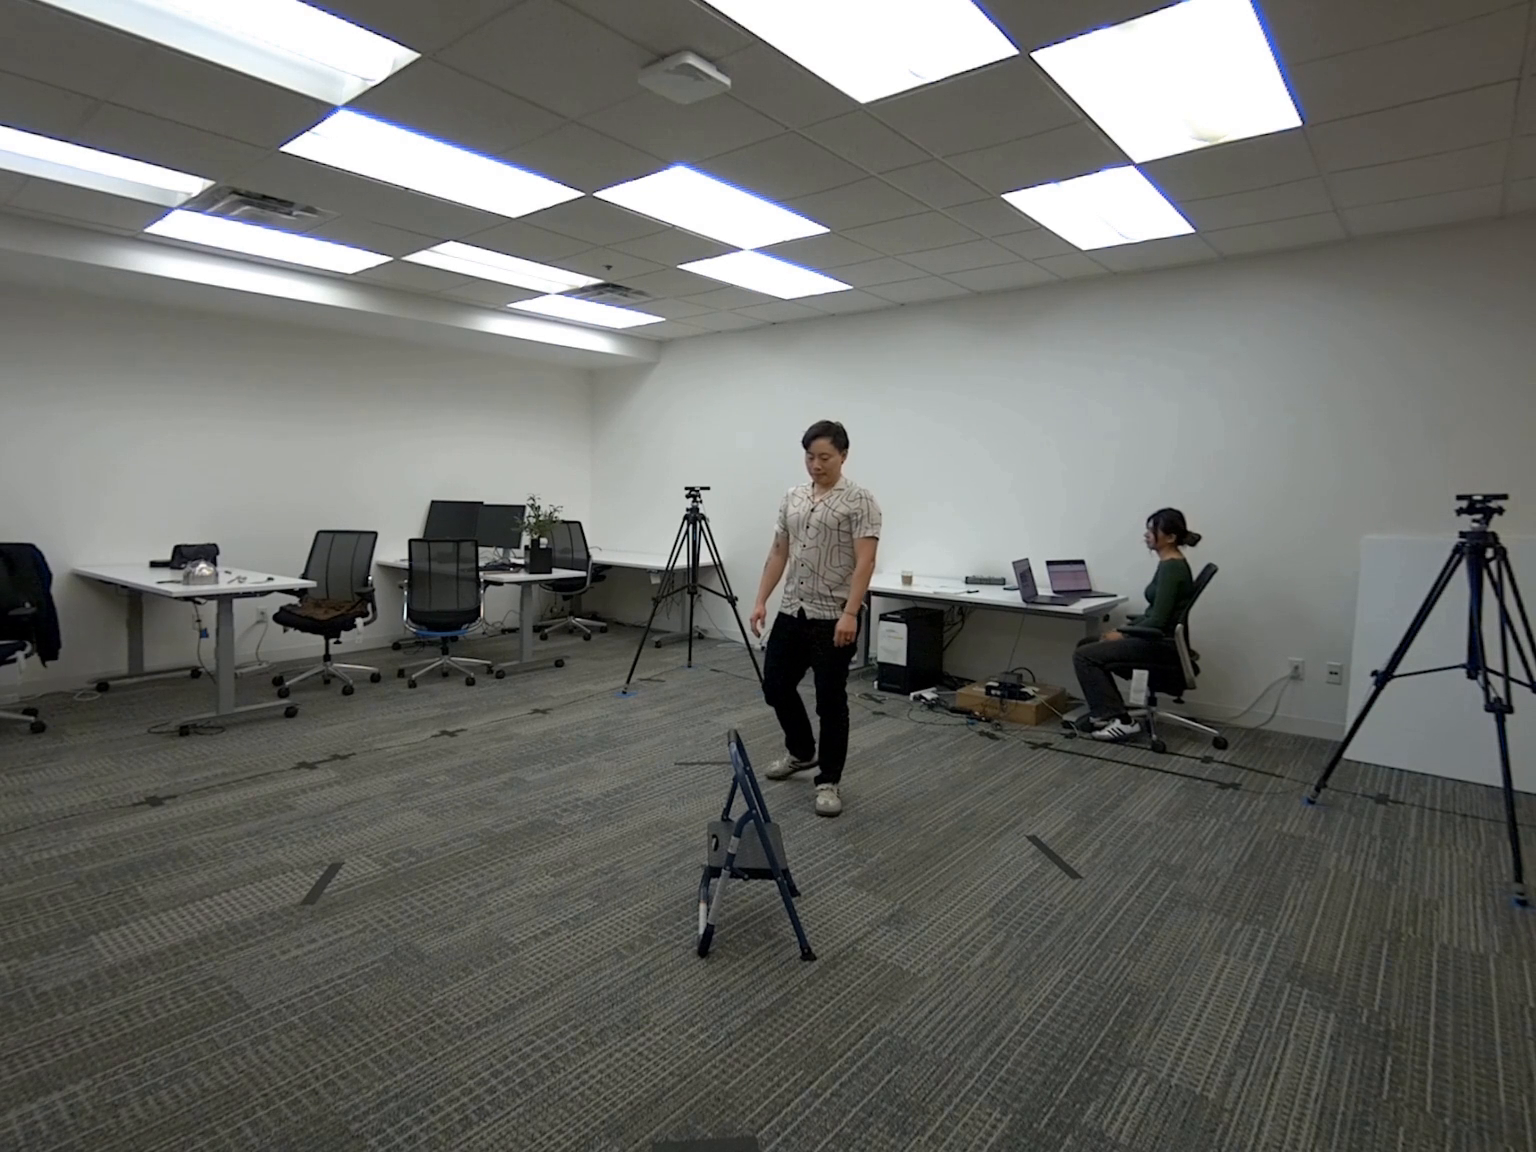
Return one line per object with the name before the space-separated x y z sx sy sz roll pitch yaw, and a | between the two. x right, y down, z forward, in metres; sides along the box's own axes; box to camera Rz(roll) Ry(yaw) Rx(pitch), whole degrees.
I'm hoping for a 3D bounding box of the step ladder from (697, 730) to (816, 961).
step ladder | -0.052 0.806 2.698 0.348 0.604 0.433 1 4 -4
